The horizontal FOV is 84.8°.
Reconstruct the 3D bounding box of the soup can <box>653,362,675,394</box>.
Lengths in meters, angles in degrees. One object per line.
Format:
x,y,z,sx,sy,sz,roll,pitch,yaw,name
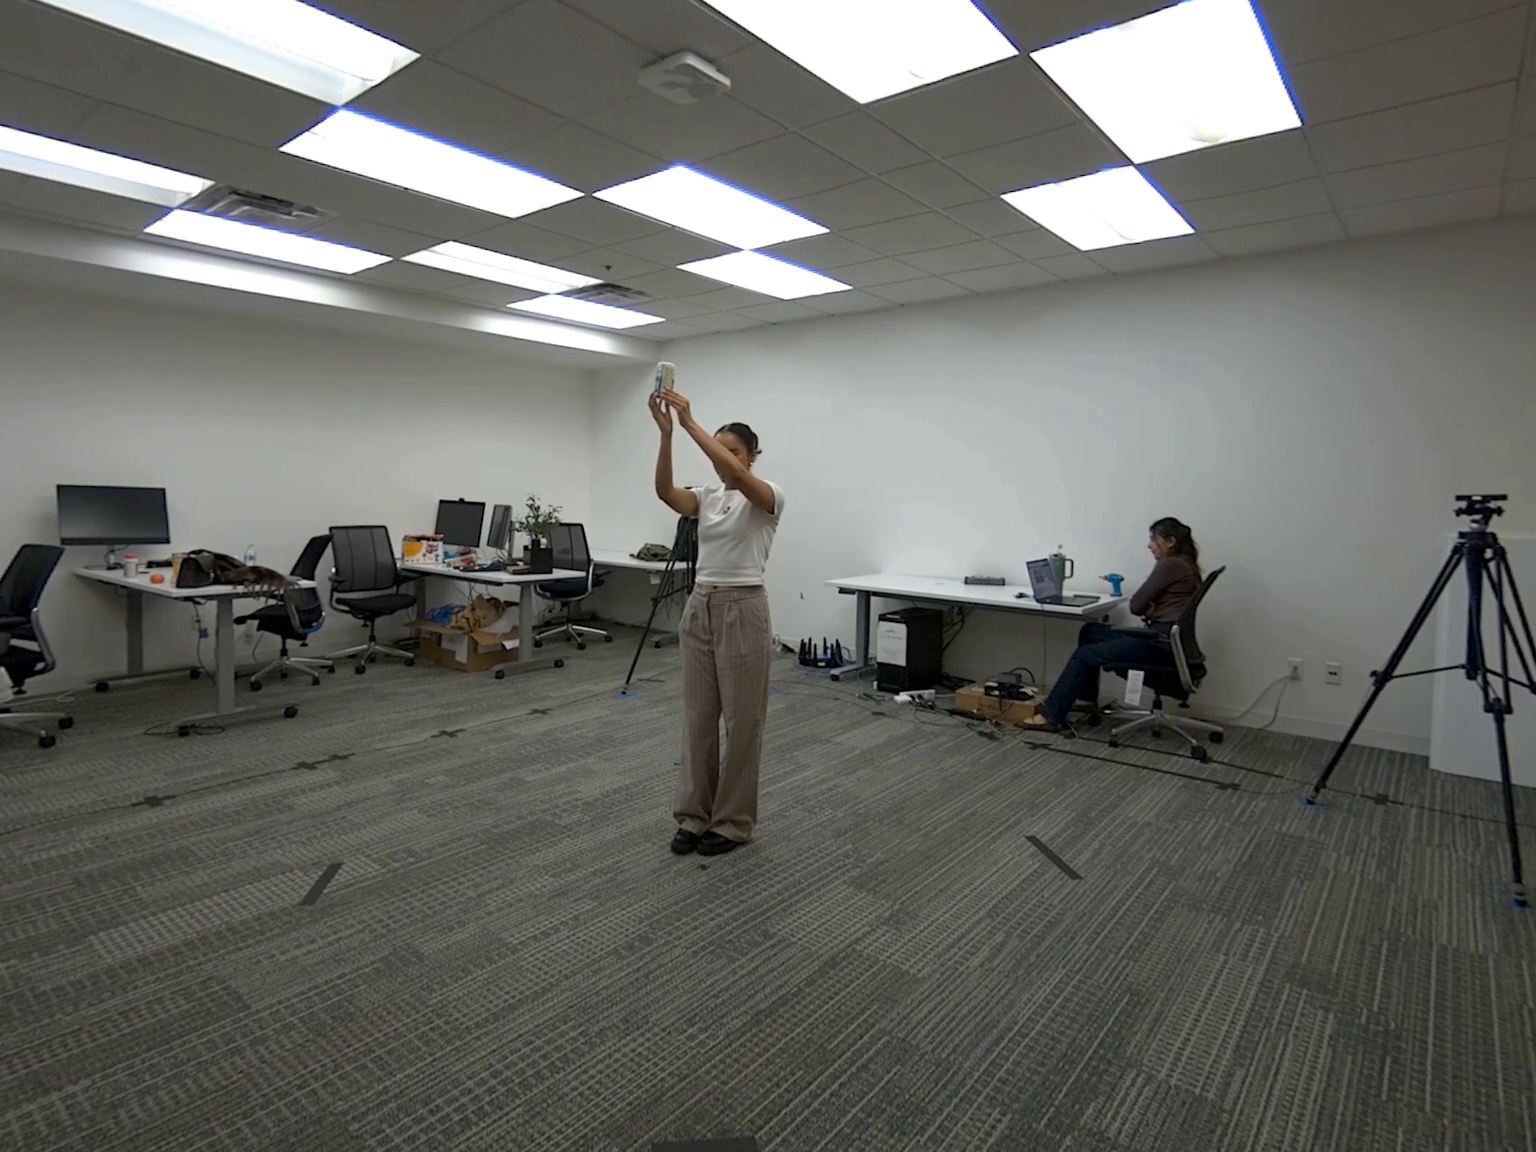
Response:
-0.374,-0.696,3.006,0.067,0.121,0.067,6,0,-2,soup can
